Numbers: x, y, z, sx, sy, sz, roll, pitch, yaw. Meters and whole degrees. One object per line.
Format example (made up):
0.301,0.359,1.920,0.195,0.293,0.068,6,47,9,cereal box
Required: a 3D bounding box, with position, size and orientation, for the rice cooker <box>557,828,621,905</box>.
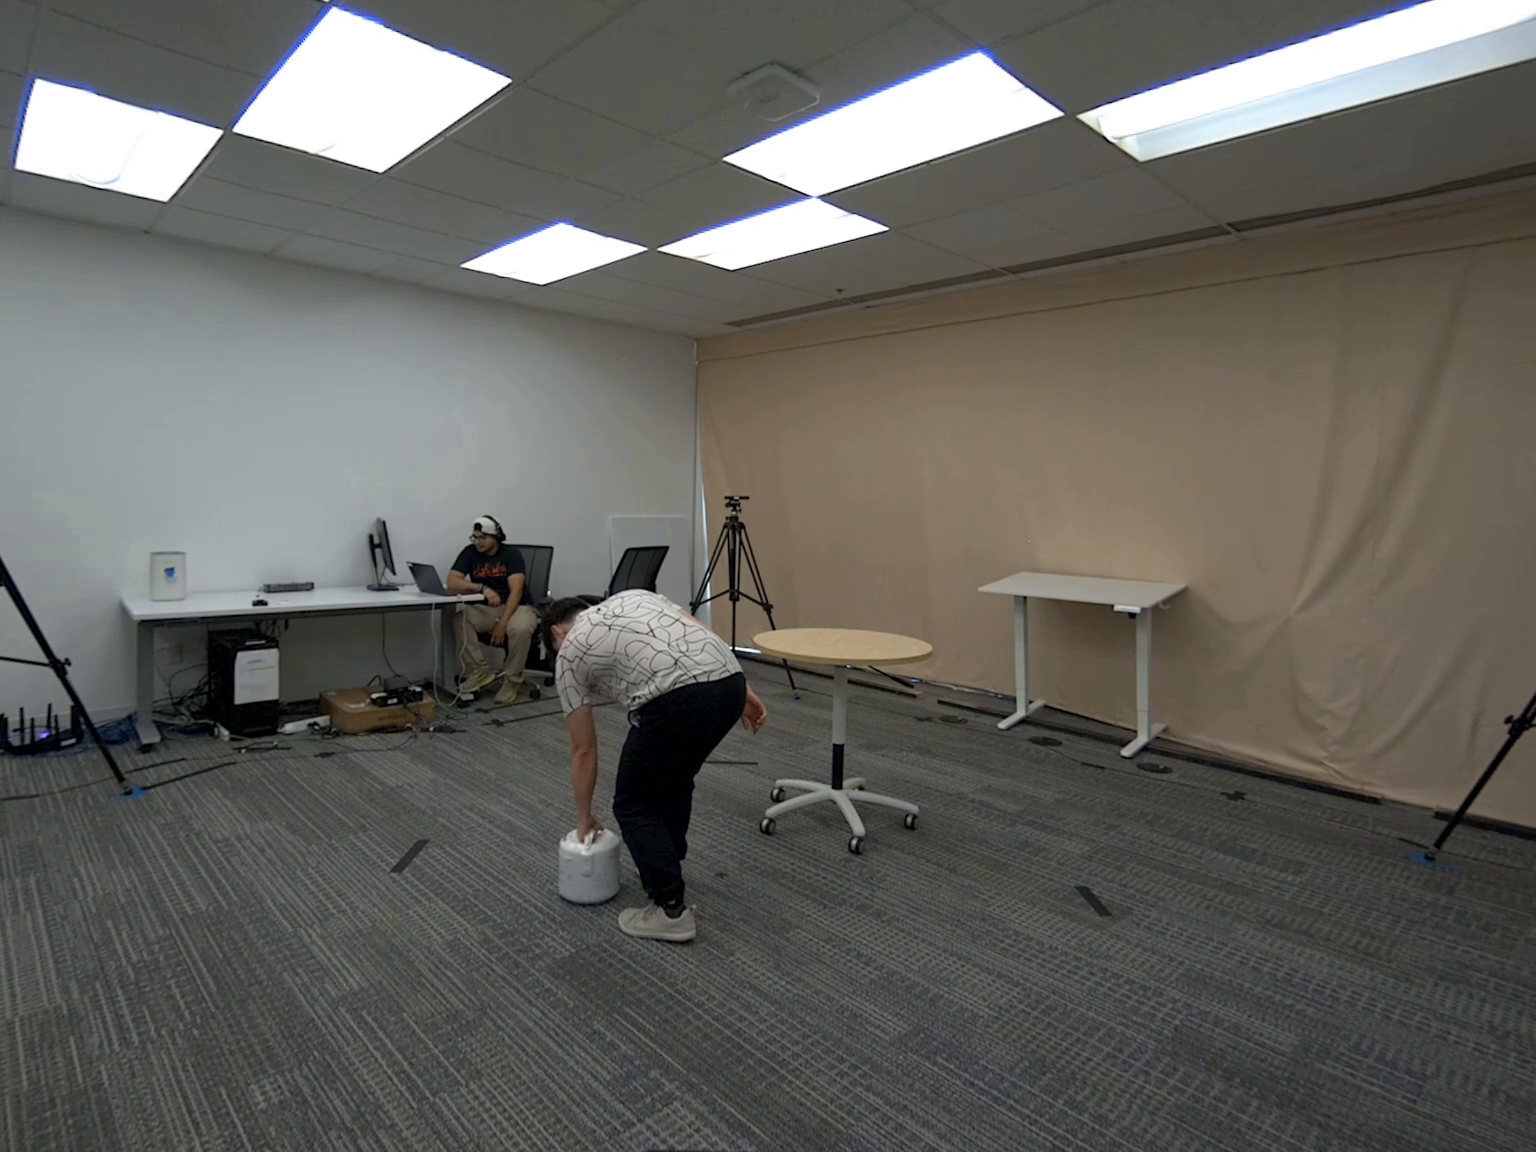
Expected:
-0.618,0.988,2.928,0.217,0.232,0.222,1,4,-4,rice cooker
